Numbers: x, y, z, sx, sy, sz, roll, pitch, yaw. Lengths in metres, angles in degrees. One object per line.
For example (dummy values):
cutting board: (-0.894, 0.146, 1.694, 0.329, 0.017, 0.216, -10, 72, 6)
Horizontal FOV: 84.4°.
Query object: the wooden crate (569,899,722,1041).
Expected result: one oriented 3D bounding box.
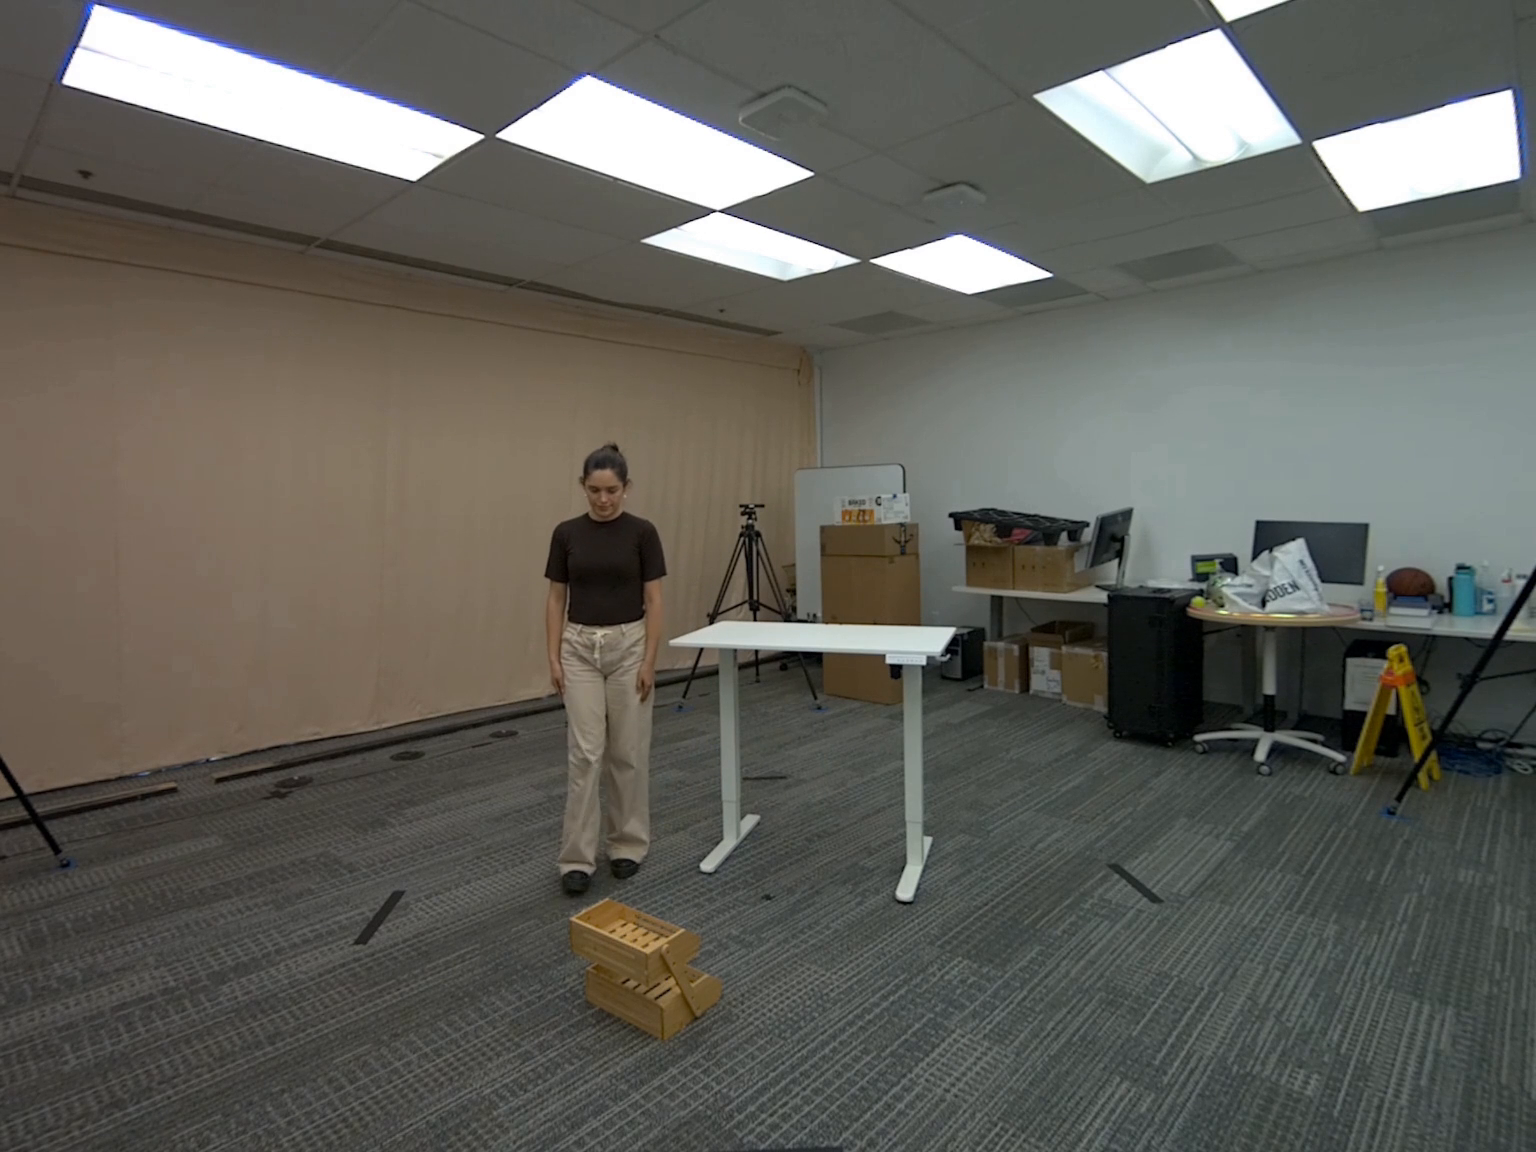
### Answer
wooden crate: (-0.341, 1.069, 2.349, 0.335, 0.272, 0.293, 2, 5, 37)
